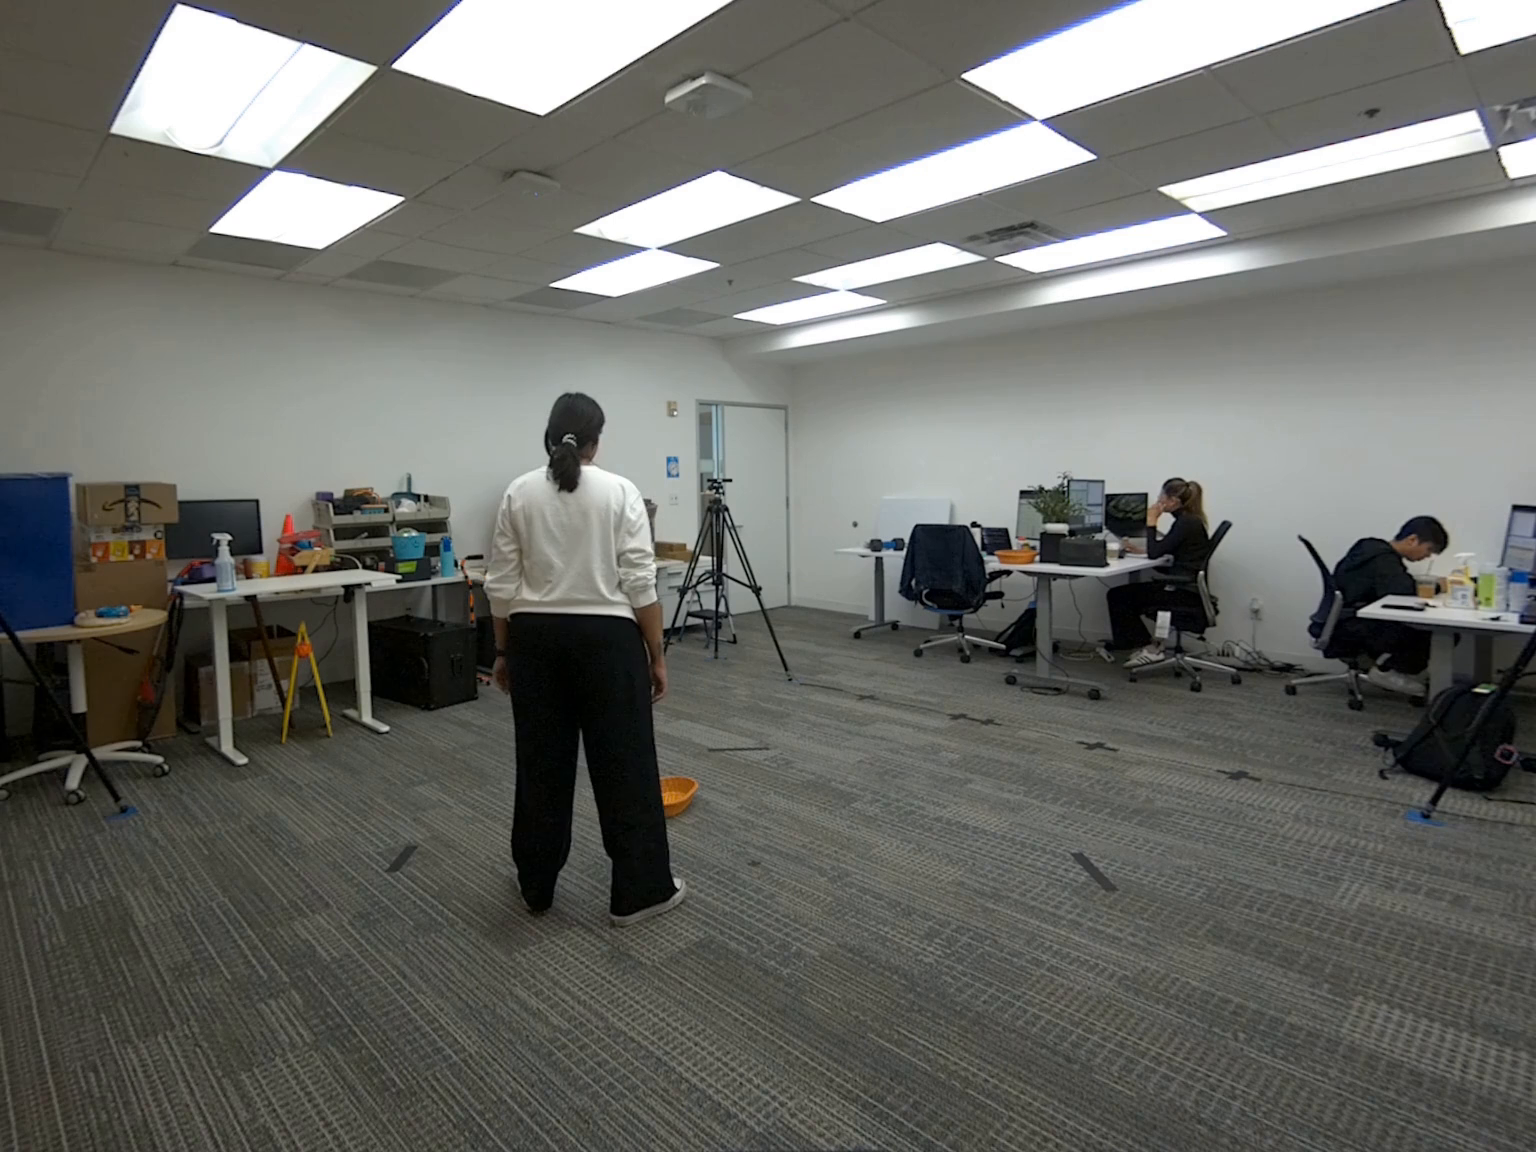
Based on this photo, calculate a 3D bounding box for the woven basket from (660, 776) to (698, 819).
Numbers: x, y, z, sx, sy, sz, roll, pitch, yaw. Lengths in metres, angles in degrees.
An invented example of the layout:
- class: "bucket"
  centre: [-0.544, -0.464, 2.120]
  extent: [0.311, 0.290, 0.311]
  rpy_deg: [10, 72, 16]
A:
- class: "woven basket"
  centre: [-0.440, 0.950, 3.672]
  extent: [0.257, 0.073, 0.346]
  rpy_deg: [0, 6, 18]
